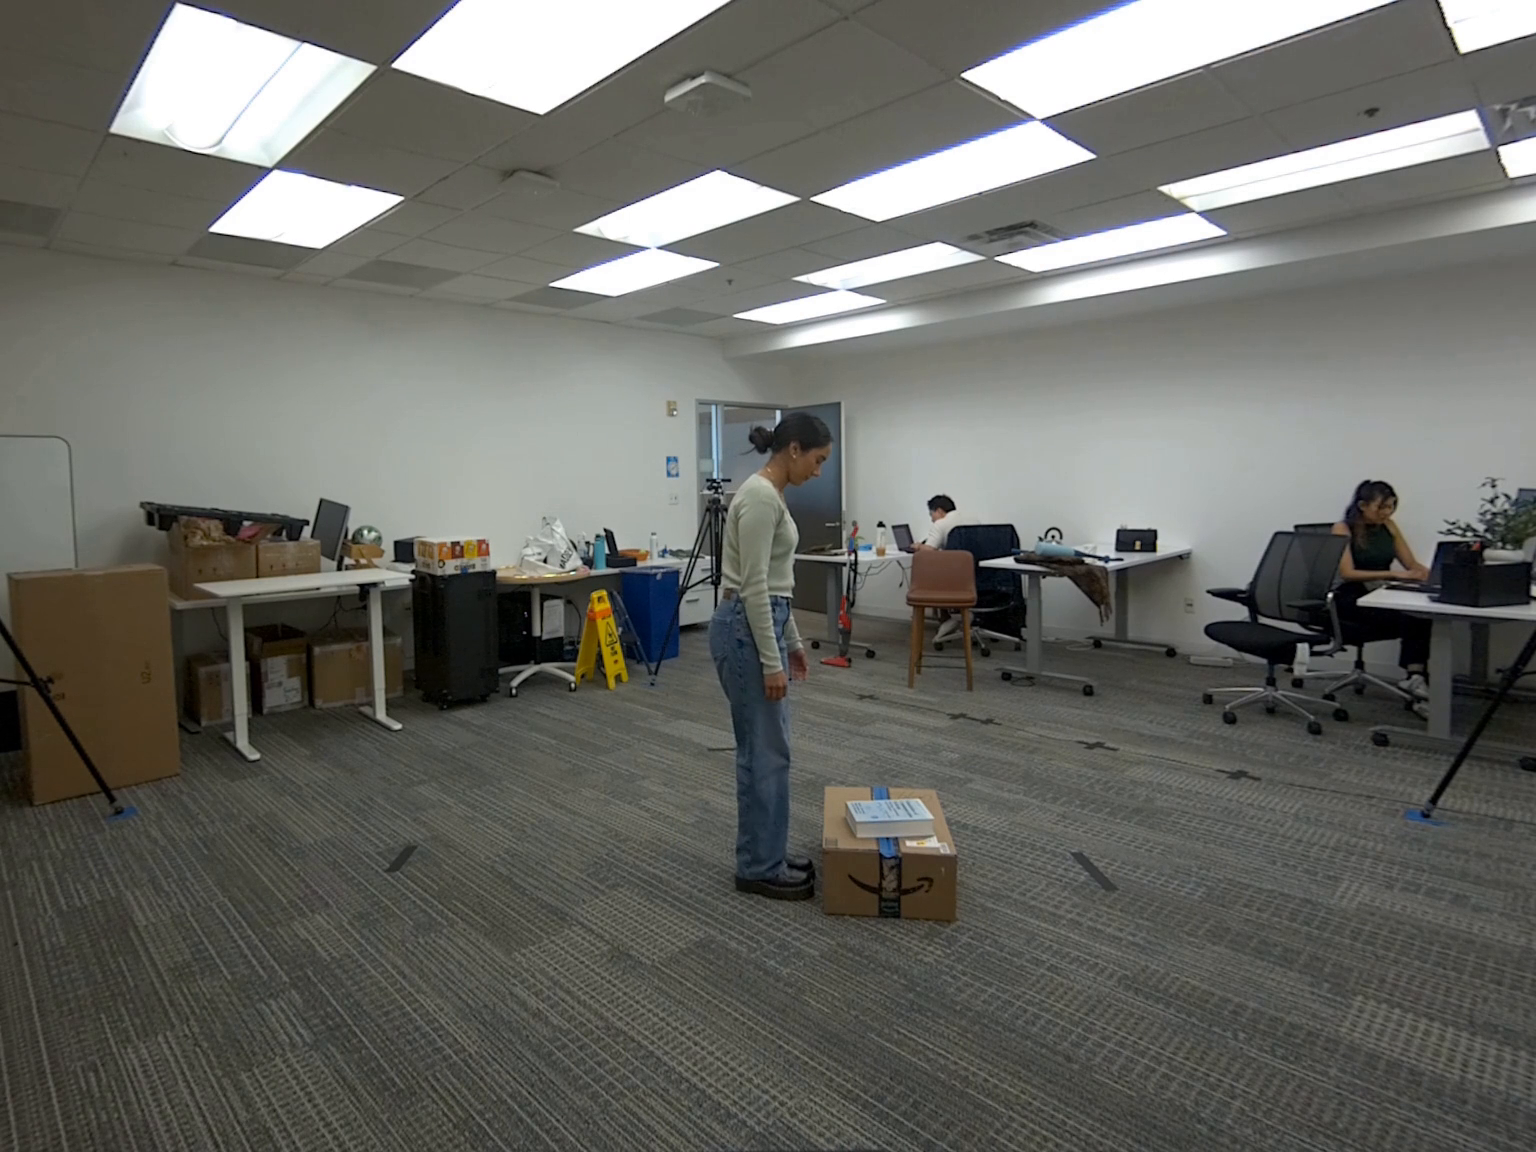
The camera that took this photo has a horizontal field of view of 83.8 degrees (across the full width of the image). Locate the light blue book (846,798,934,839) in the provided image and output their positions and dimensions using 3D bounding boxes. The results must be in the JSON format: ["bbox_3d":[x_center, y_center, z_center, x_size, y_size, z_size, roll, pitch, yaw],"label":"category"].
[{"bbox_3d":[0.407,0.812,2.900,0.260,0.059,0.193,-2,6,-3],"label":"light blue book"}]
